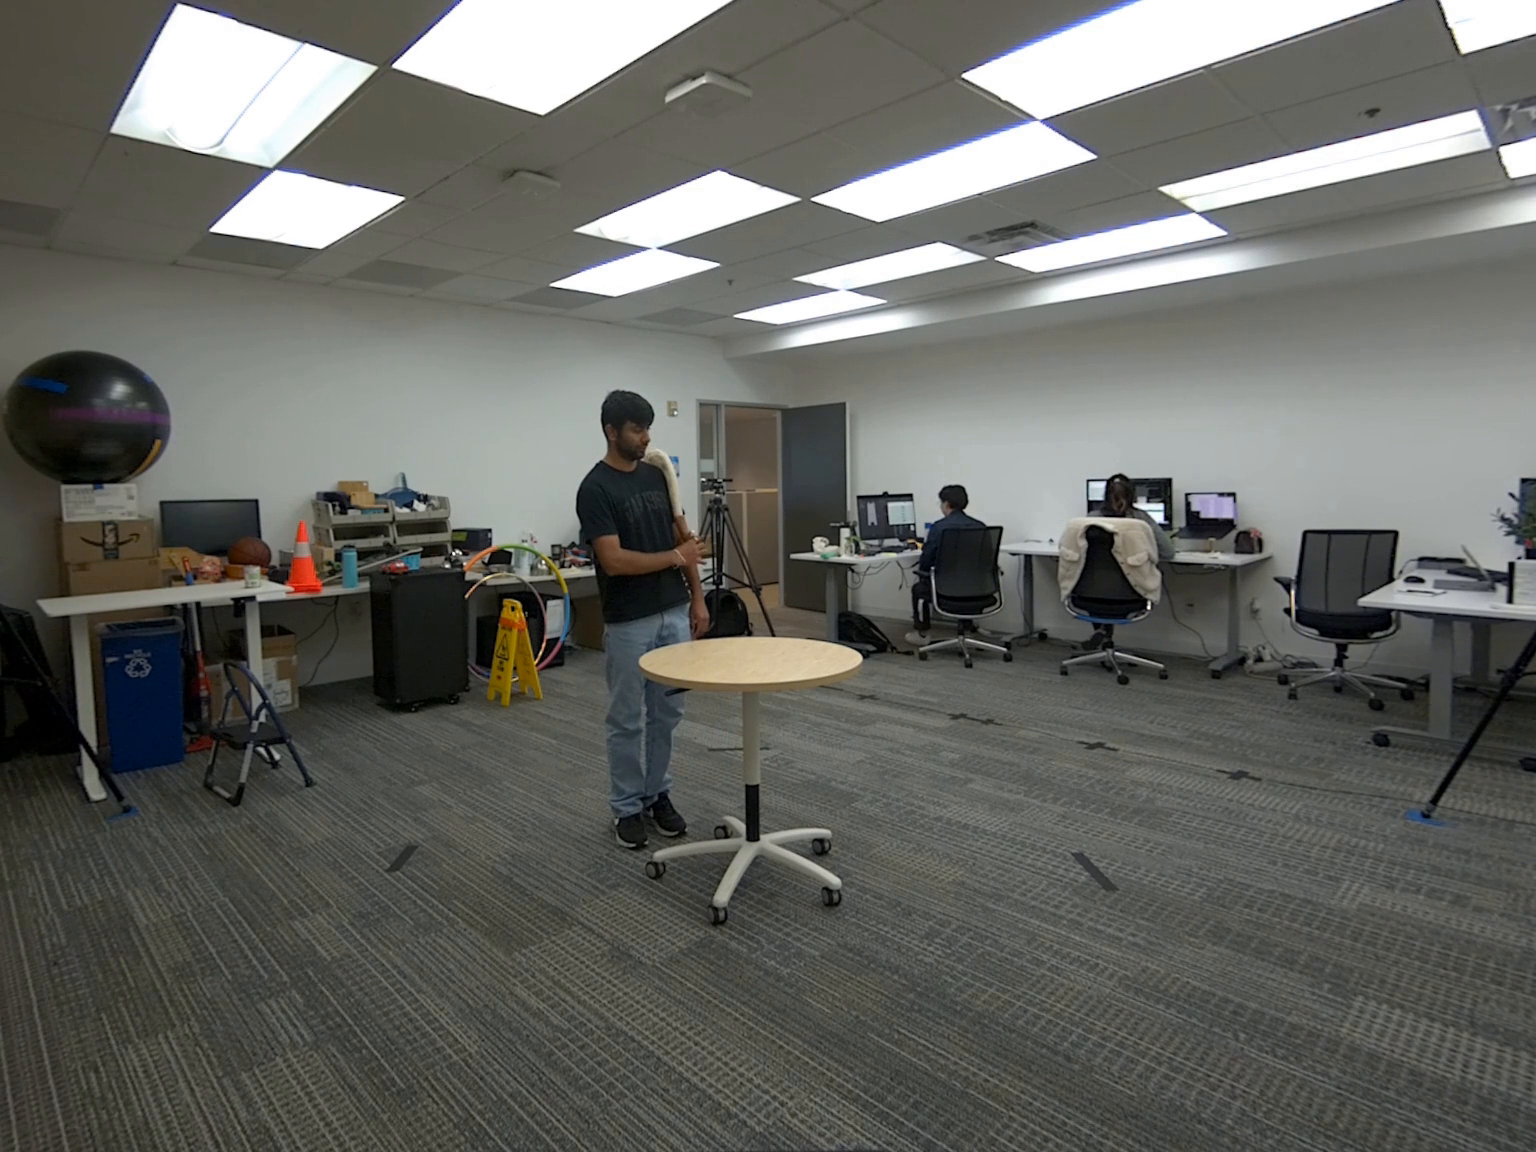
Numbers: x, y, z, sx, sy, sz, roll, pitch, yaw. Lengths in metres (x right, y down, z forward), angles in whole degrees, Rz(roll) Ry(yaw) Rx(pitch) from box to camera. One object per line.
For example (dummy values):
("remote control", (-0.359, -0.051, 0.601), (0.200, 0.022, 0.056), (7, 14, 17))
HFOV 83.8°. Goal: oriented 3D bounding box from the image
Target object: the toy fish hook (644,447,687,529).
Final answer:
("toy fish hook", (-0.420, -0.270, 3.444), (0.047, 0.514, 0.227), (-9, -17, -44))
